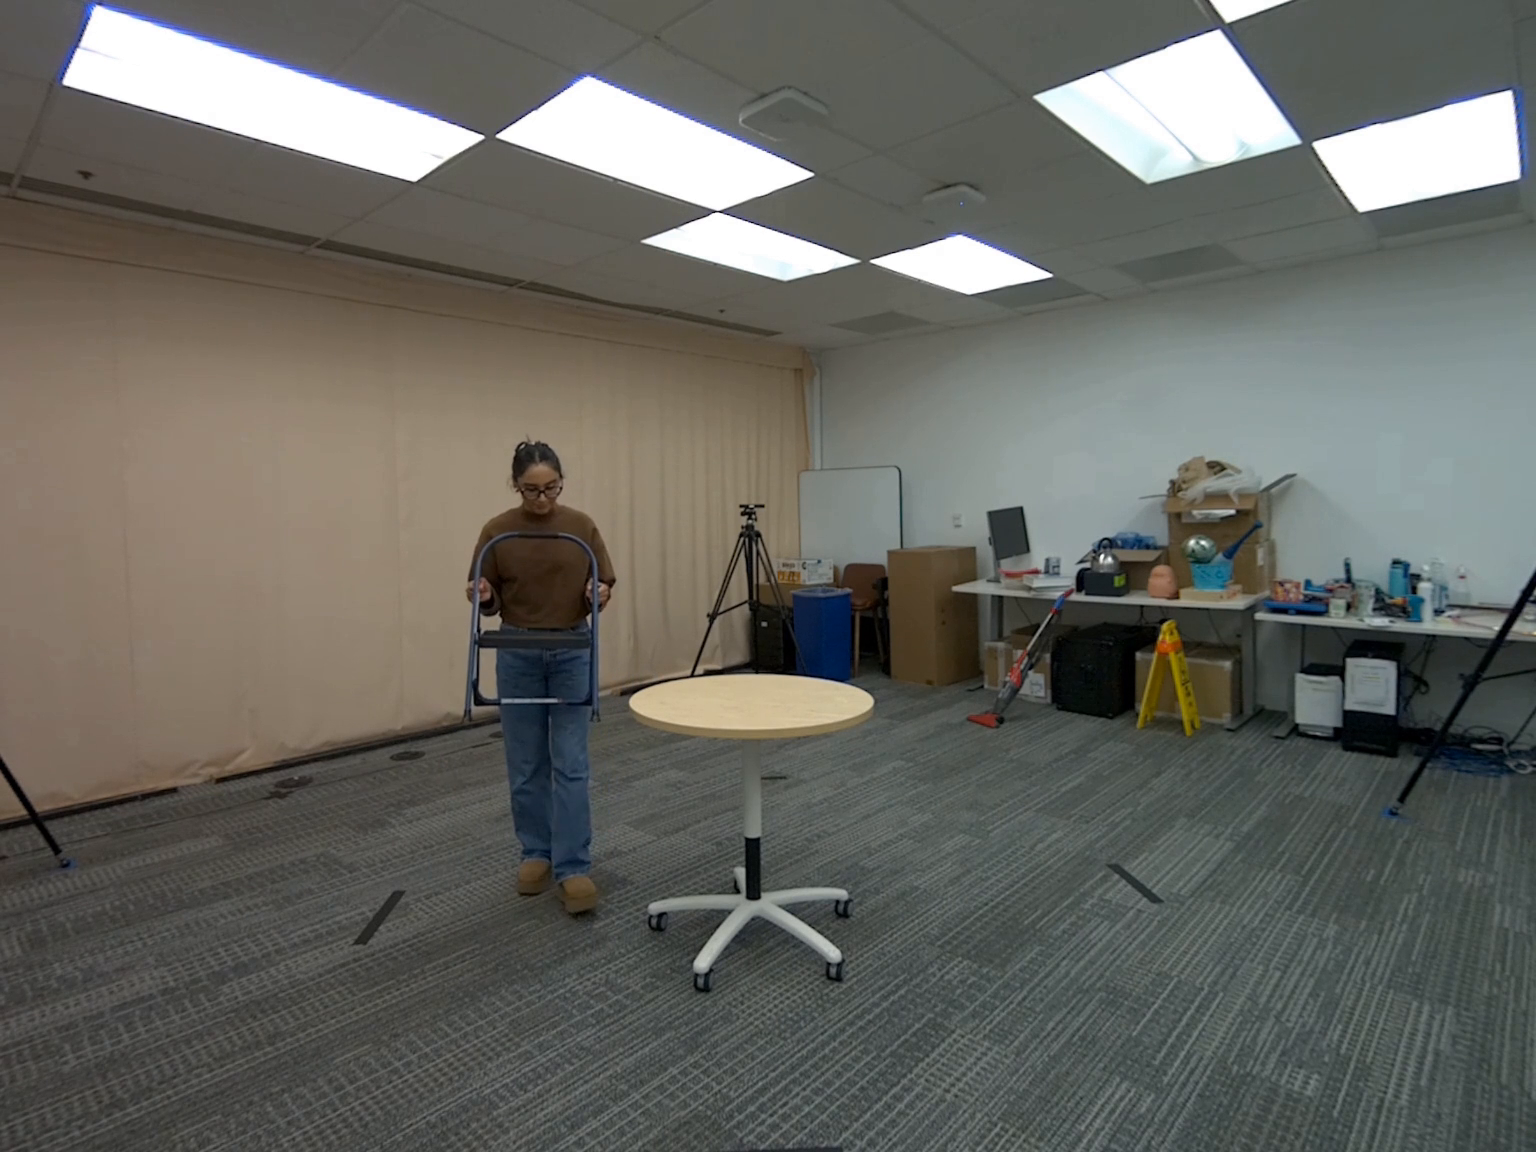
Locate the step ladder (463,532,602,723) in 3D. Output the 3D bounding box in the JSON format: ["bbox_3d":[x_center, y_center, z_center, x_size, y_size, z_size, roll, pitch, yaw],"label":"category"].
[{"bbox_3d":[-0.767,0.150,2.807,0.424,0.607,0.354,0,-2,-14],"label":"step ladder"}]
